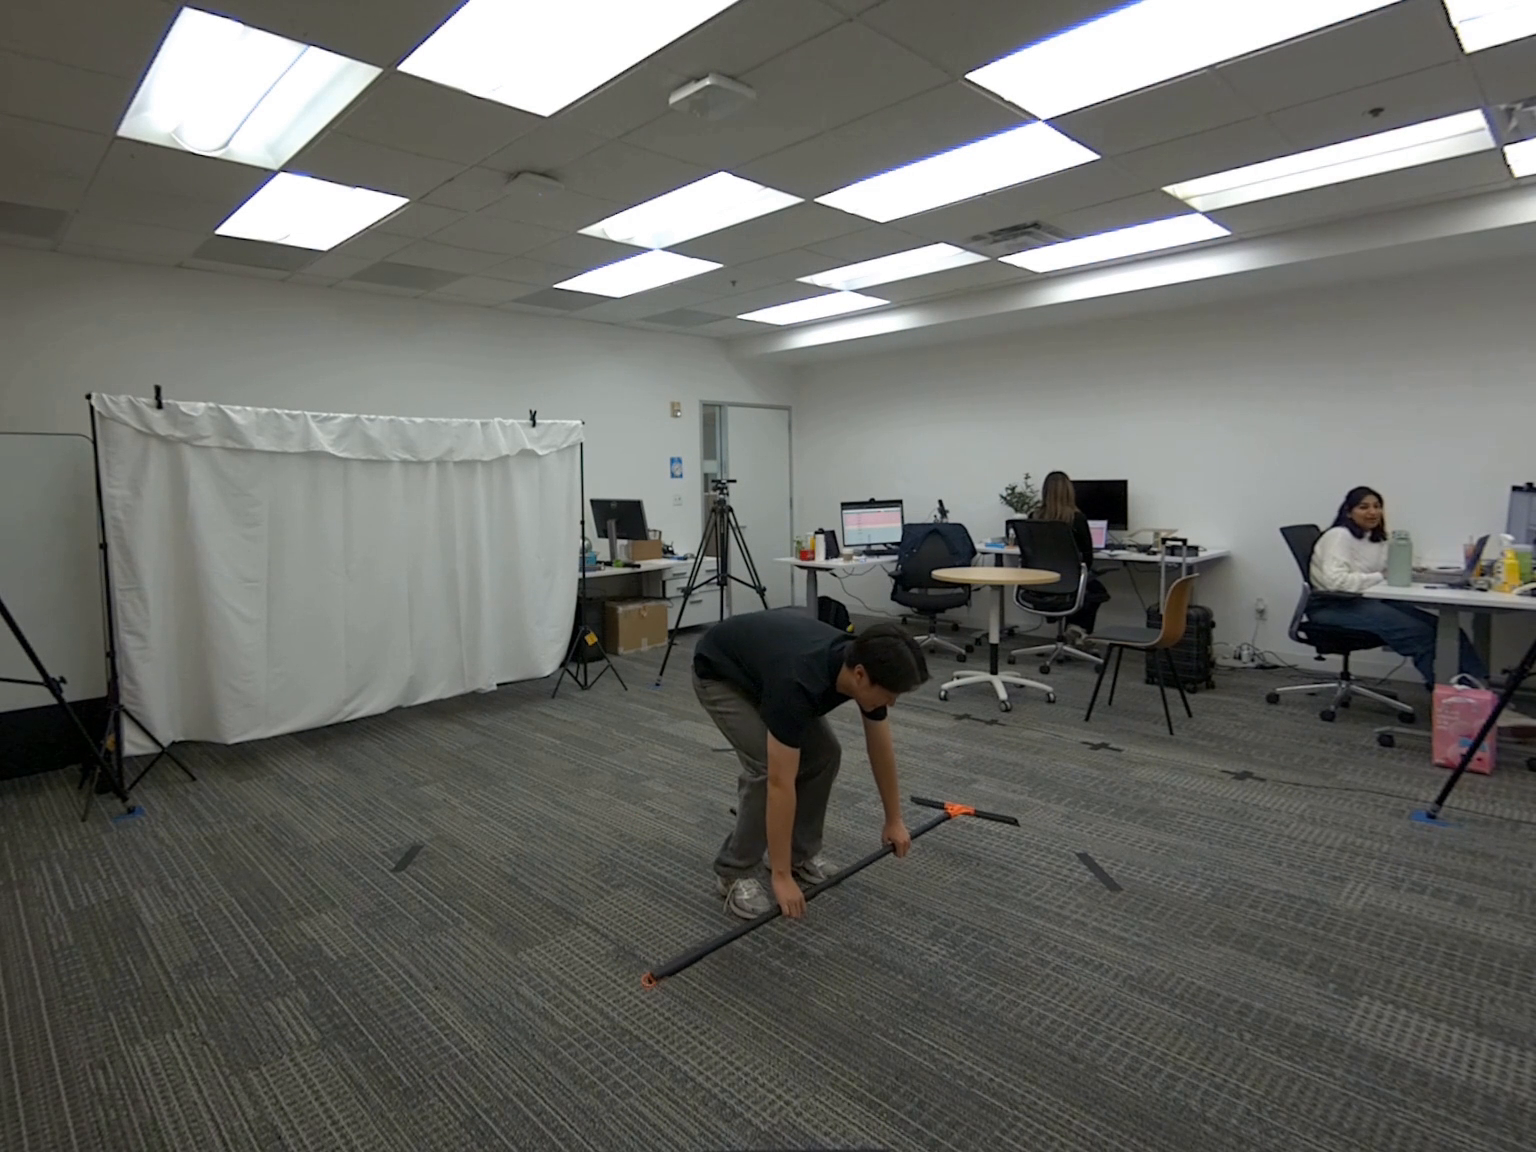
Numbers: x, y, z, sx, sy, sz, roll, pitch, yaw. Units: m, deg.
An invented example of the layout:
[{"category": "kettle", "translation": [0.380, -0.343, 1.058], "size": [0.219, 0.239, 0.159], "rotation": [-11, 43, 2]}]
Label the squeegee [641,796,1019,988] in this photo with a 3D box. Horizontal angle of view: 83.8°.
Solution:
[{"category": "squeegee", "translation": [0.222, 0.945, 2.666], "size": [0.449, 0.053, 1.499], "rotation": [-3, 4, 45]}]
